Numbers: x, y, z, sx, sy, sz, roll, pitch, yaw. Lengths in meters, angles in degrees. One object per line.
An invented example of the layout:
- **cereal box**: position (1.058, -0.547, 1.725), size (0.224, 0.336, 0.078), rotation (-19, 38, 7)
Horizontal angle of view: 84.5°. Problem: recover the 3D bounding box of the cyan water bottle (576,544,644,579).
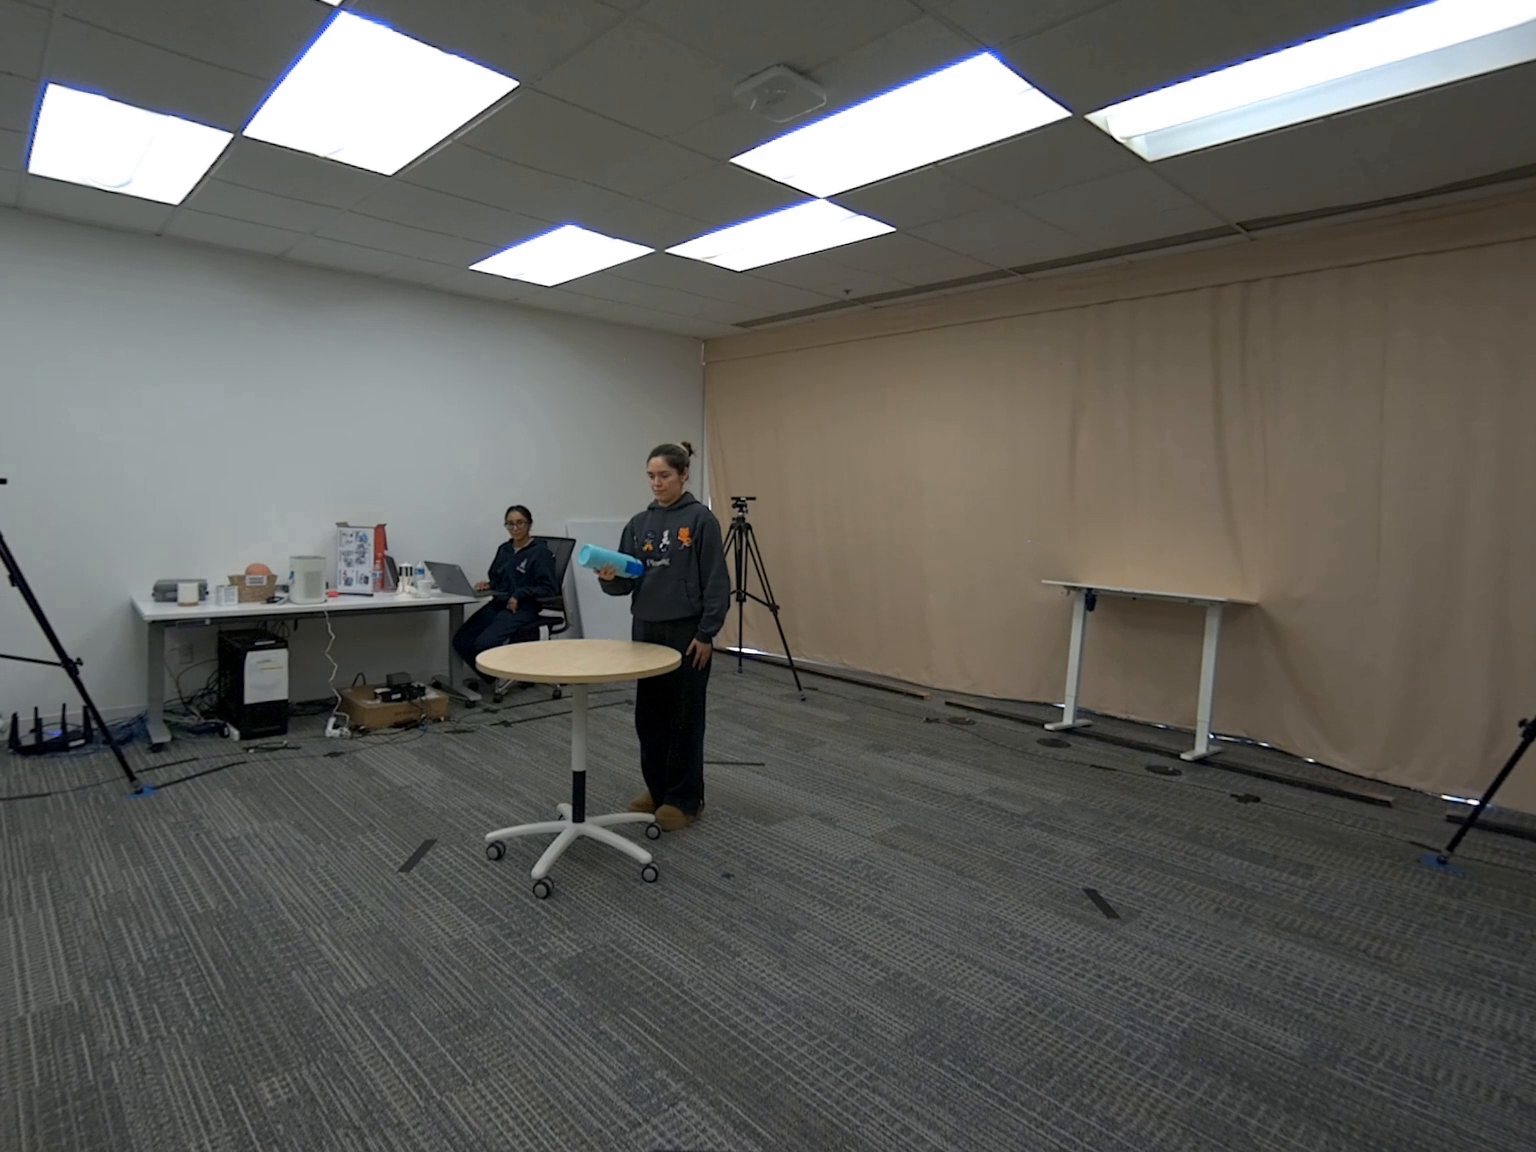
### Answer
- **cyan water bottle**: position (-0.635, -0.054, 3.350), size (0.275, 0.092, 0.095), rotation (19, -8, -42)
